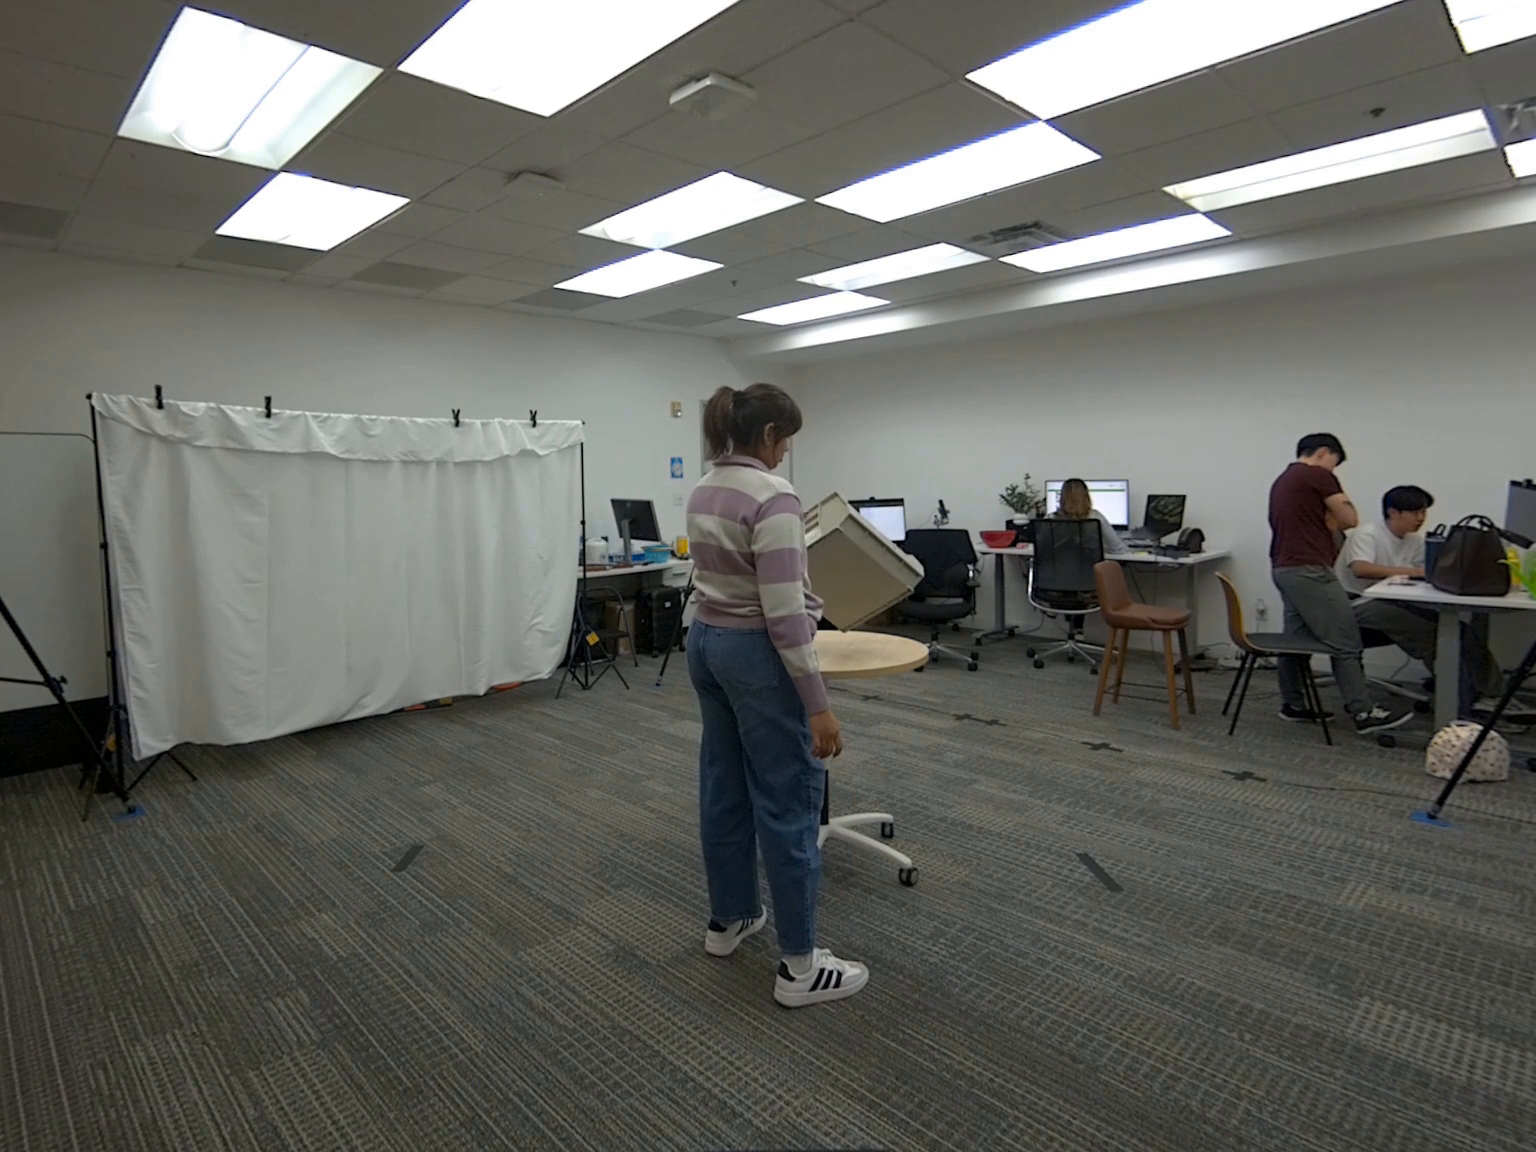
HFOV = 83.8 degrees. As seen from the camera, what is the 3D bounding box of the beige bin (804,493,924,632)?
[{"bbox_3d":[0.264,-0.043,2.966,0.380,0.194,0.408,-35,-56,27],"label":"beige bin"}]
